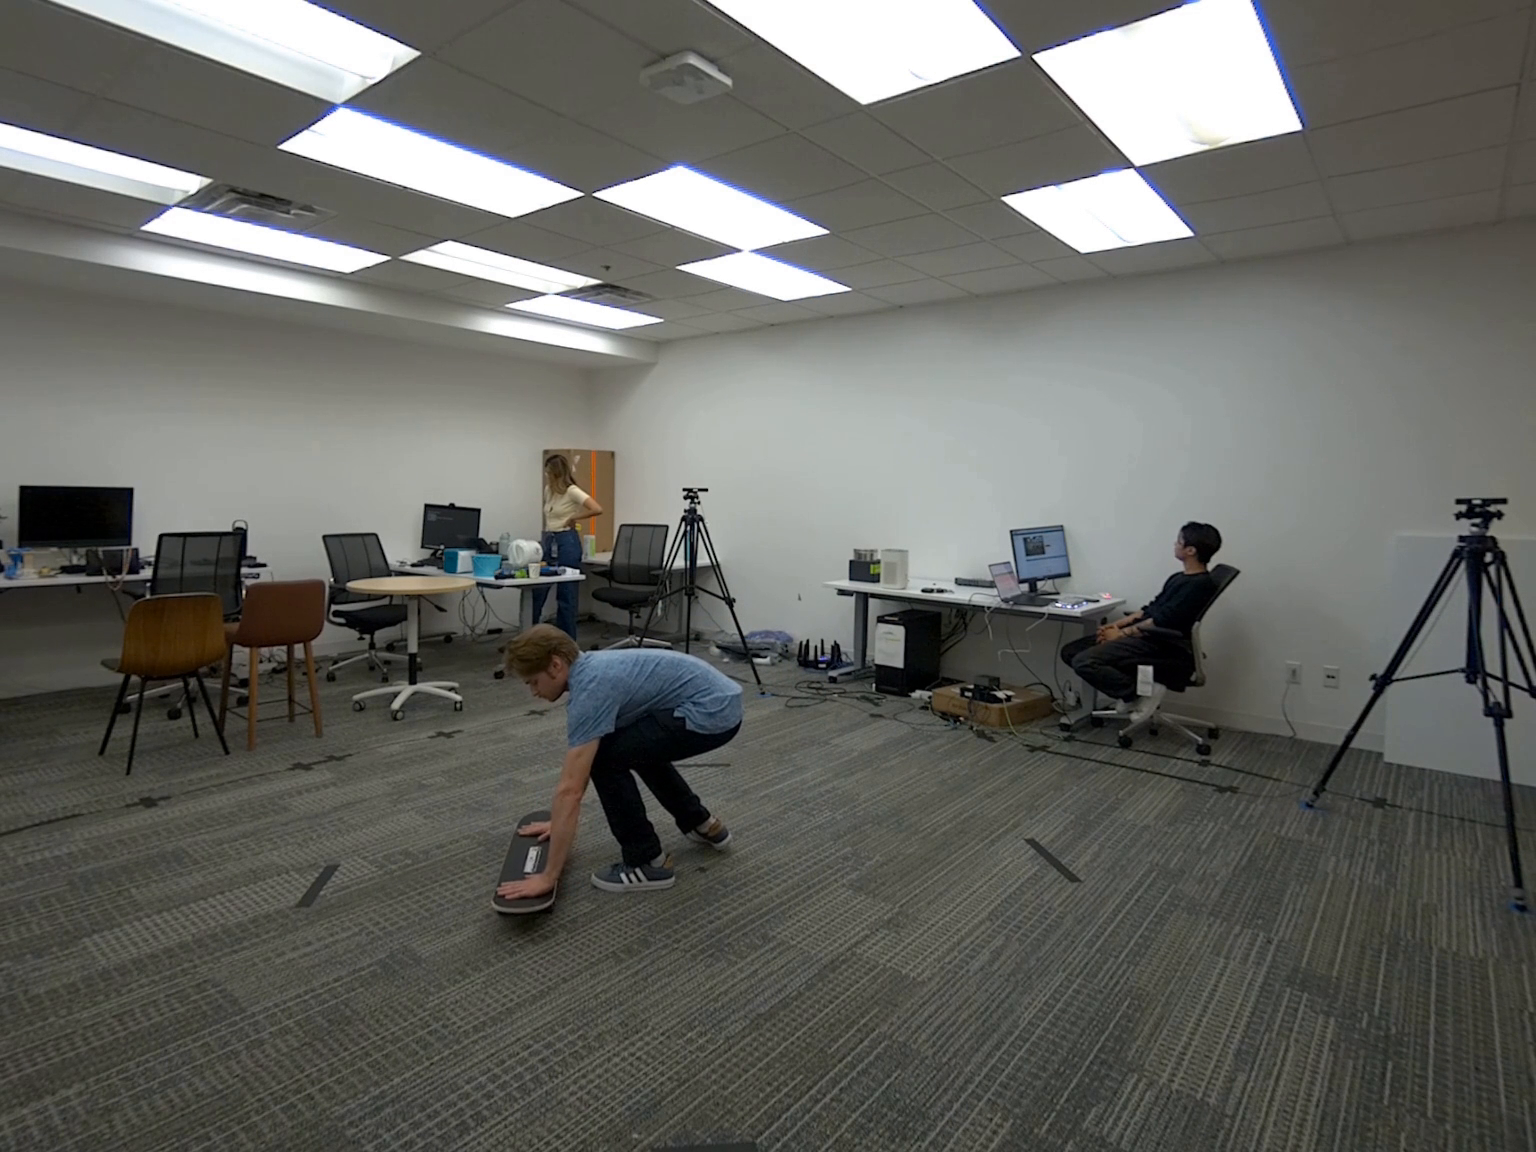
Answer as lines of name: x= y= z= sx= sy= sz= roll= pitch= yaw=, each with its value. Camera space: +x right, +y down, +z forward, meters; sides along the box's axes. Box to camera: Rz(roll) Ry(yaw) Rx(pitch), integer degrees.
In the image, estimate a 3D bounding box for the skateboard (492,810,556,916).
skateboard: x=-0.833 y=1.013 z=2.970 sx=0.192 sy=0.110 sz=0.795 roll=-1 pitch=6 yaw=-9
